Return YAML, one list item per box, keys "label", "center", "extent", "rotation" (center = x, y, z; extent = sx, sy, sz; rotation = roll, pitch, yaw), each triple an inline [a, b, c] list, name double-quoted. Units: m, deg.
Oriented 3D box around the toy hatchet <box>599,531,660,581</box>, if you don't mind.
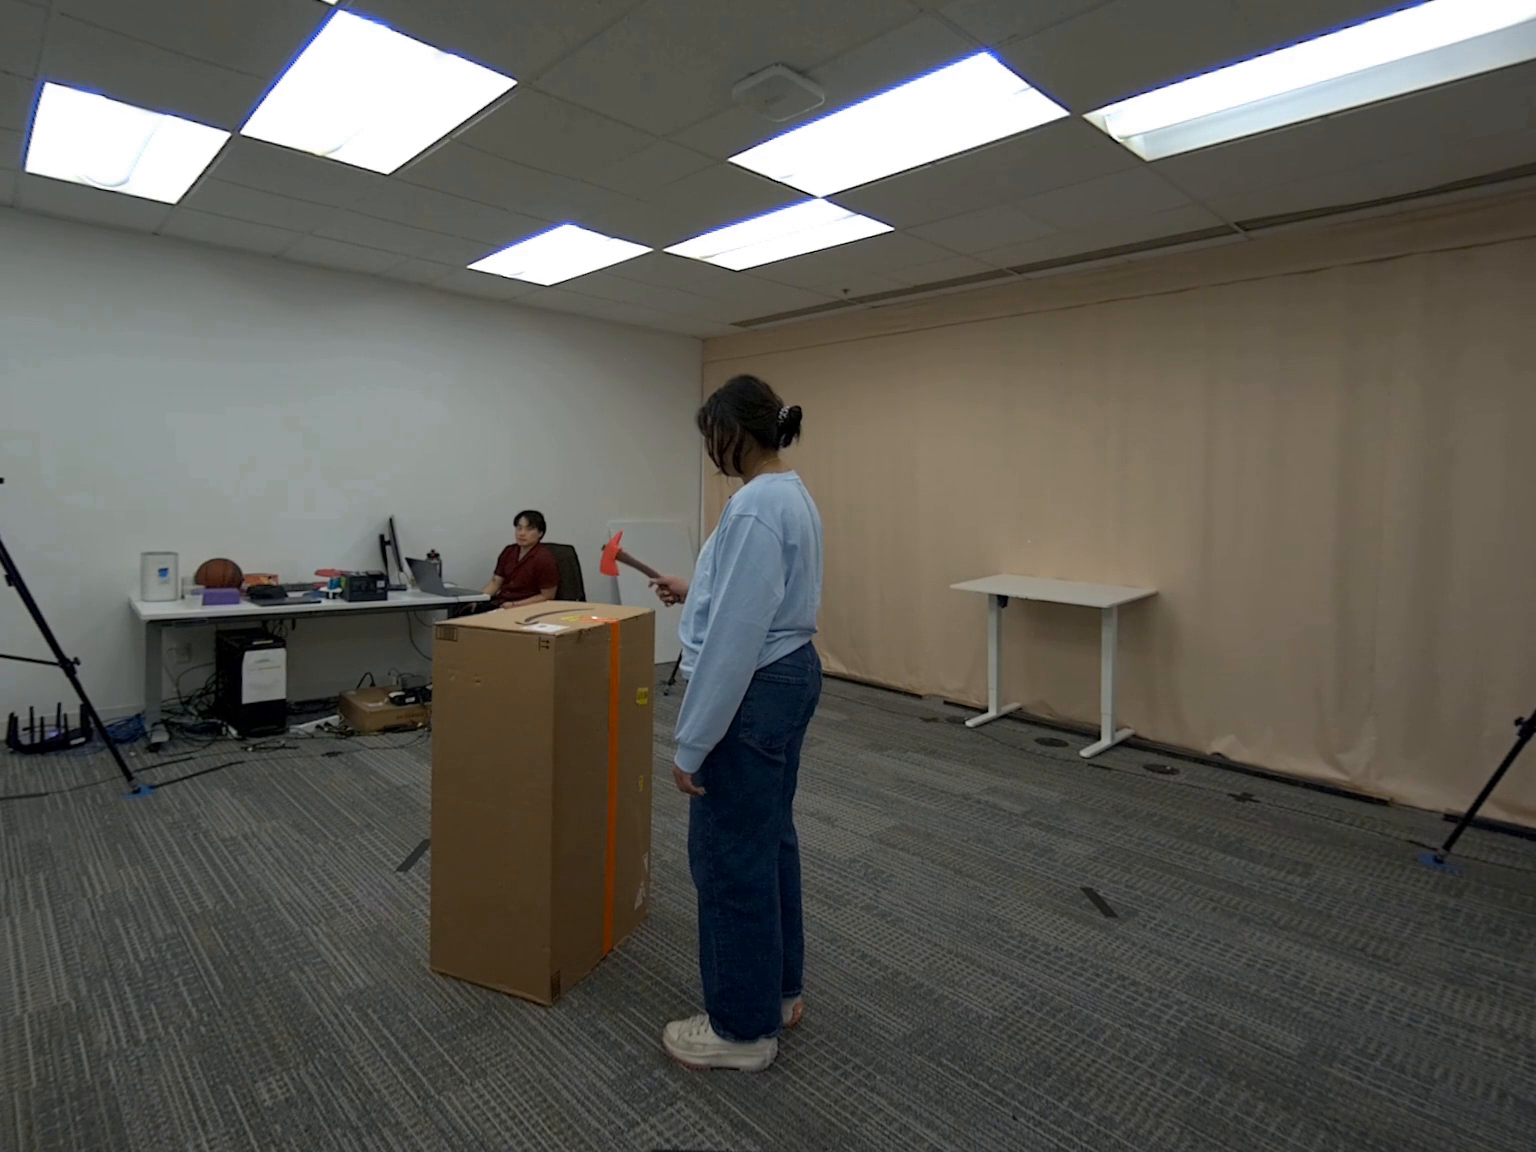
- label: "toy hatchet"
  center: [-0.389, 0.004, 2.395]
  extent: [0.272, 0.131, 0.029]
  rotation: [43, 4, 6]
